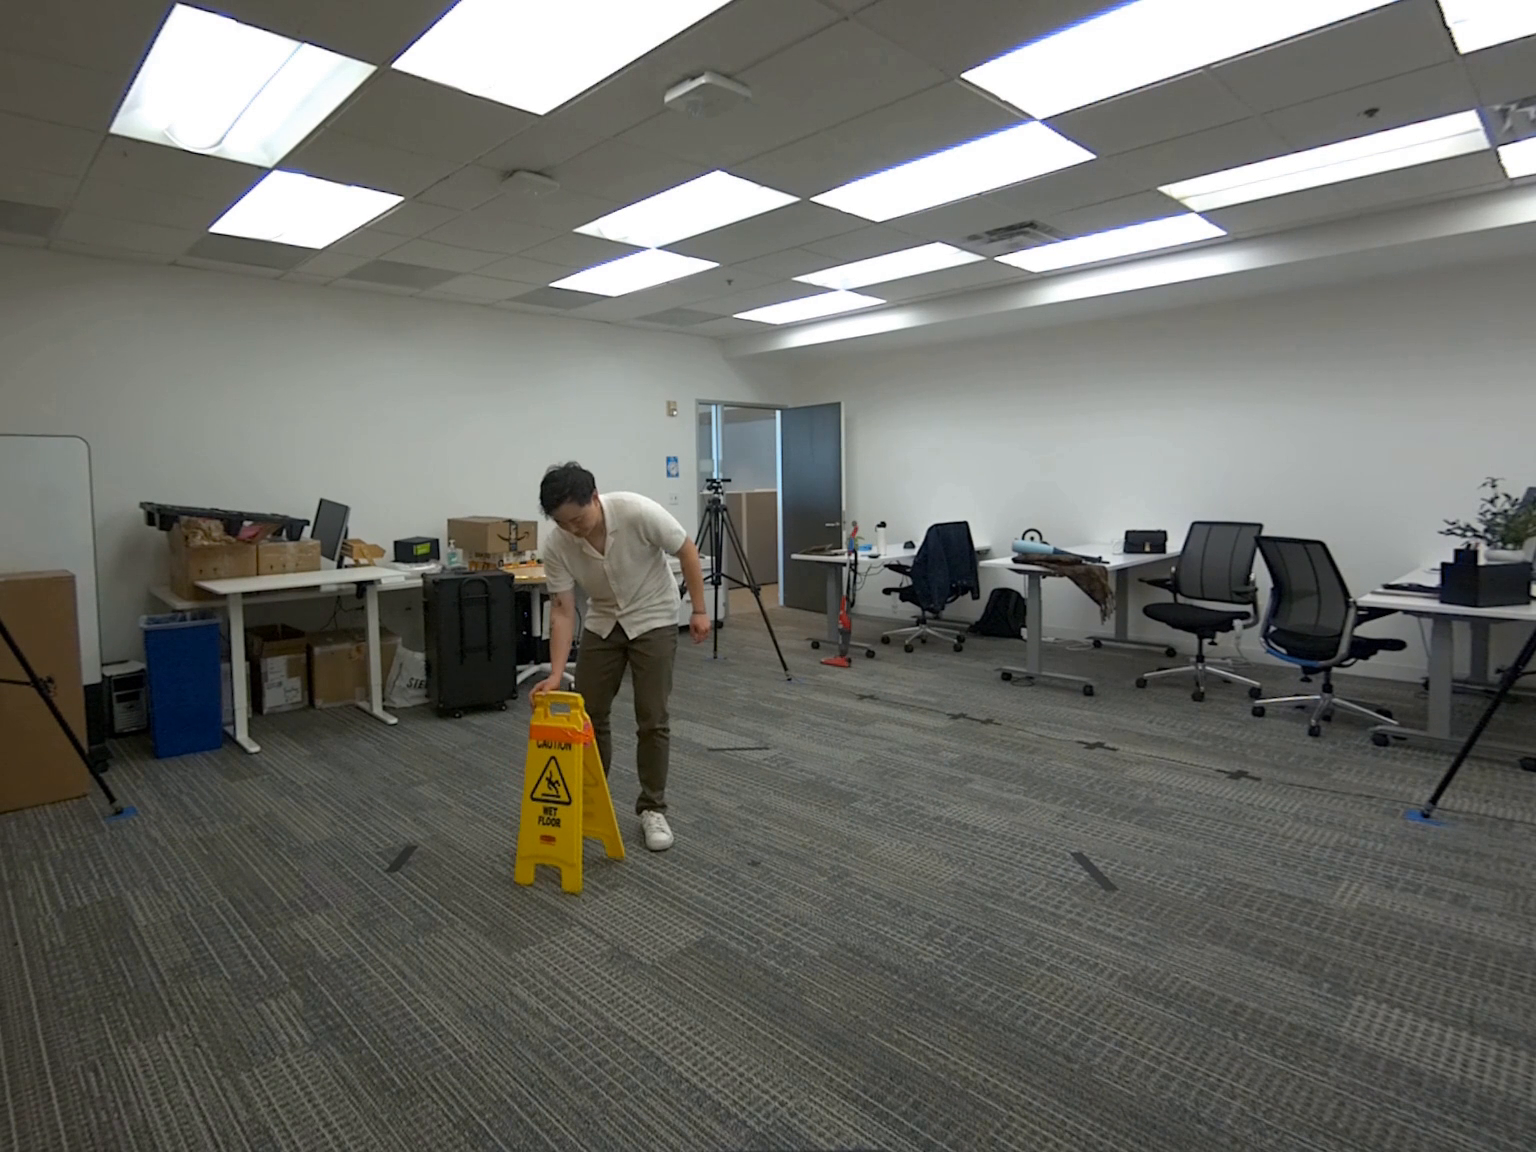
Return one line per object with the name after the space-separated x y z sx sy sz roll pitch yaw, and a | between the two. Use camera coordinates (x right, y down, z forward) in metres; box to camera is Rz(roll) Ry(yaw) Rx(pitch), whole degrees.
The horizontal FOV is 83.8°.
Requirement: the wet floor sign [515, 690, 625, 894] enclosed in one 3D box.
-0.733 0.738 3.054 0.288 0.644 0.285 -4 3 23 | wet floor sign
